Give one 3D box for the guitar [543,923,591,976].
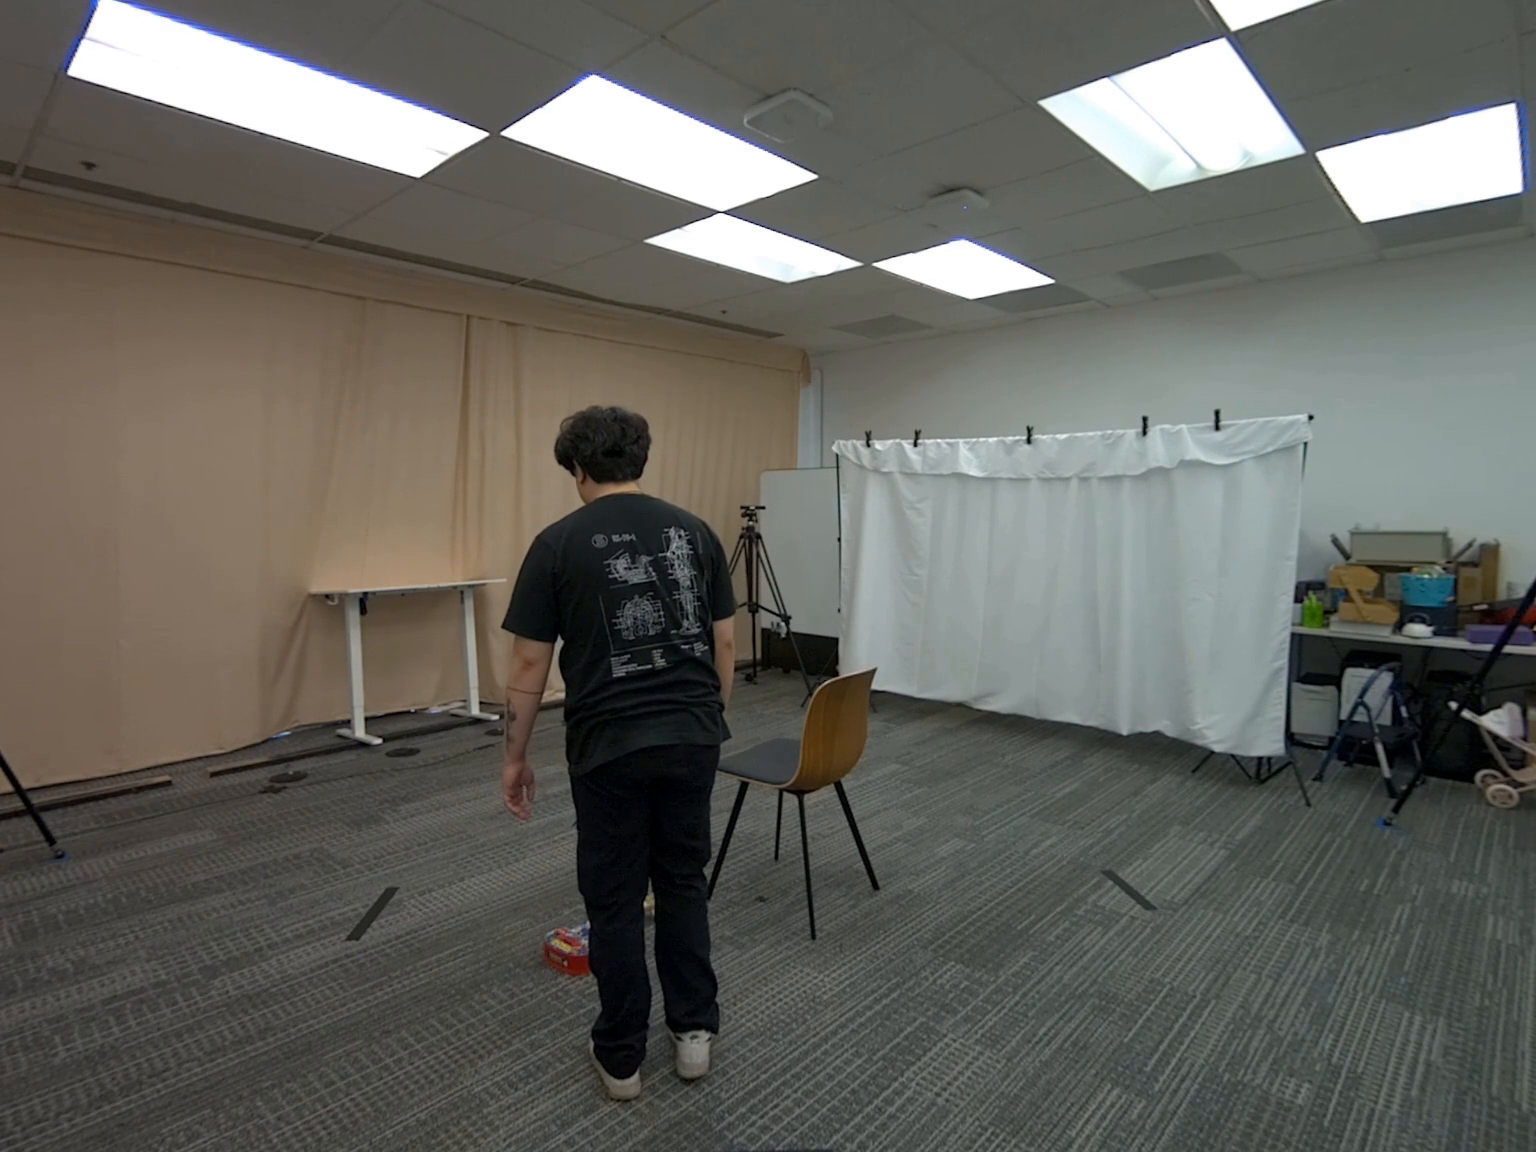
[{"bbox_3d":[-0.478,1.142,2.701,0.483,0.070,0.199,-5,6,-42],"label":"guitar"}]
